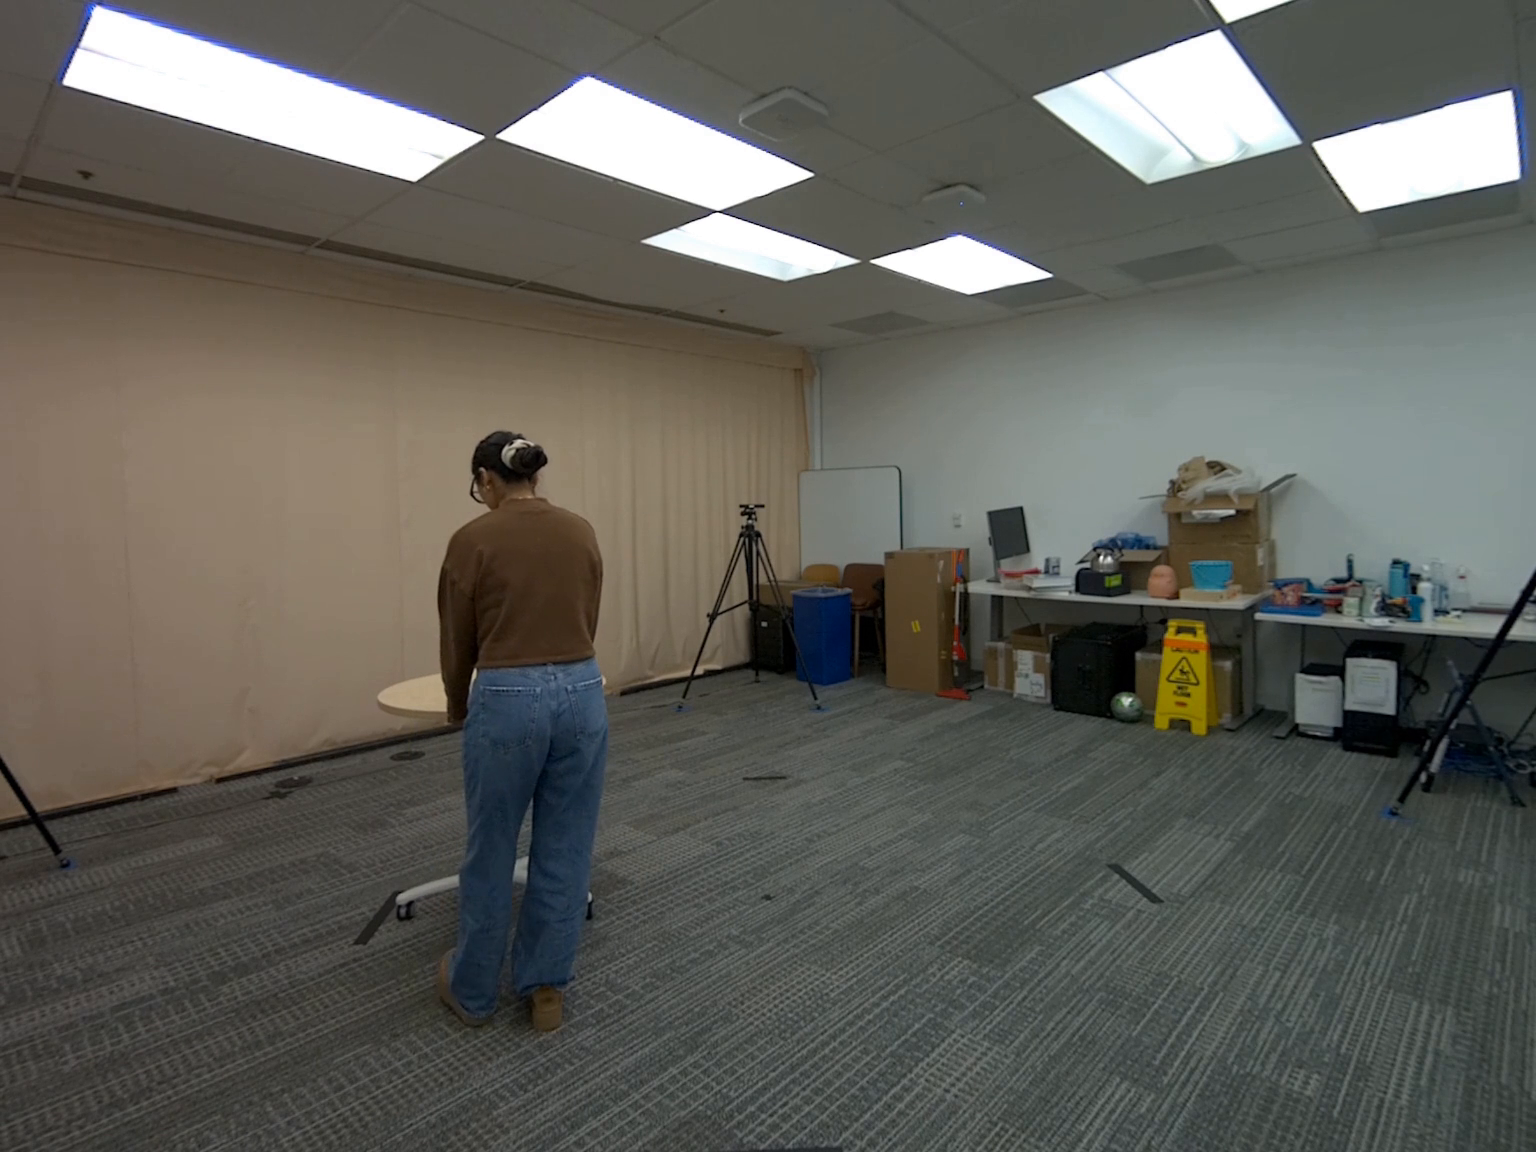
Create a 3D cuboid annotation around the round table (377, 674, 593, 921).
[{"bbox_3d":[-0.939,0.778,2.942,0.763,0.792,0.766,-1,3,-2],"label":"round table"}]
